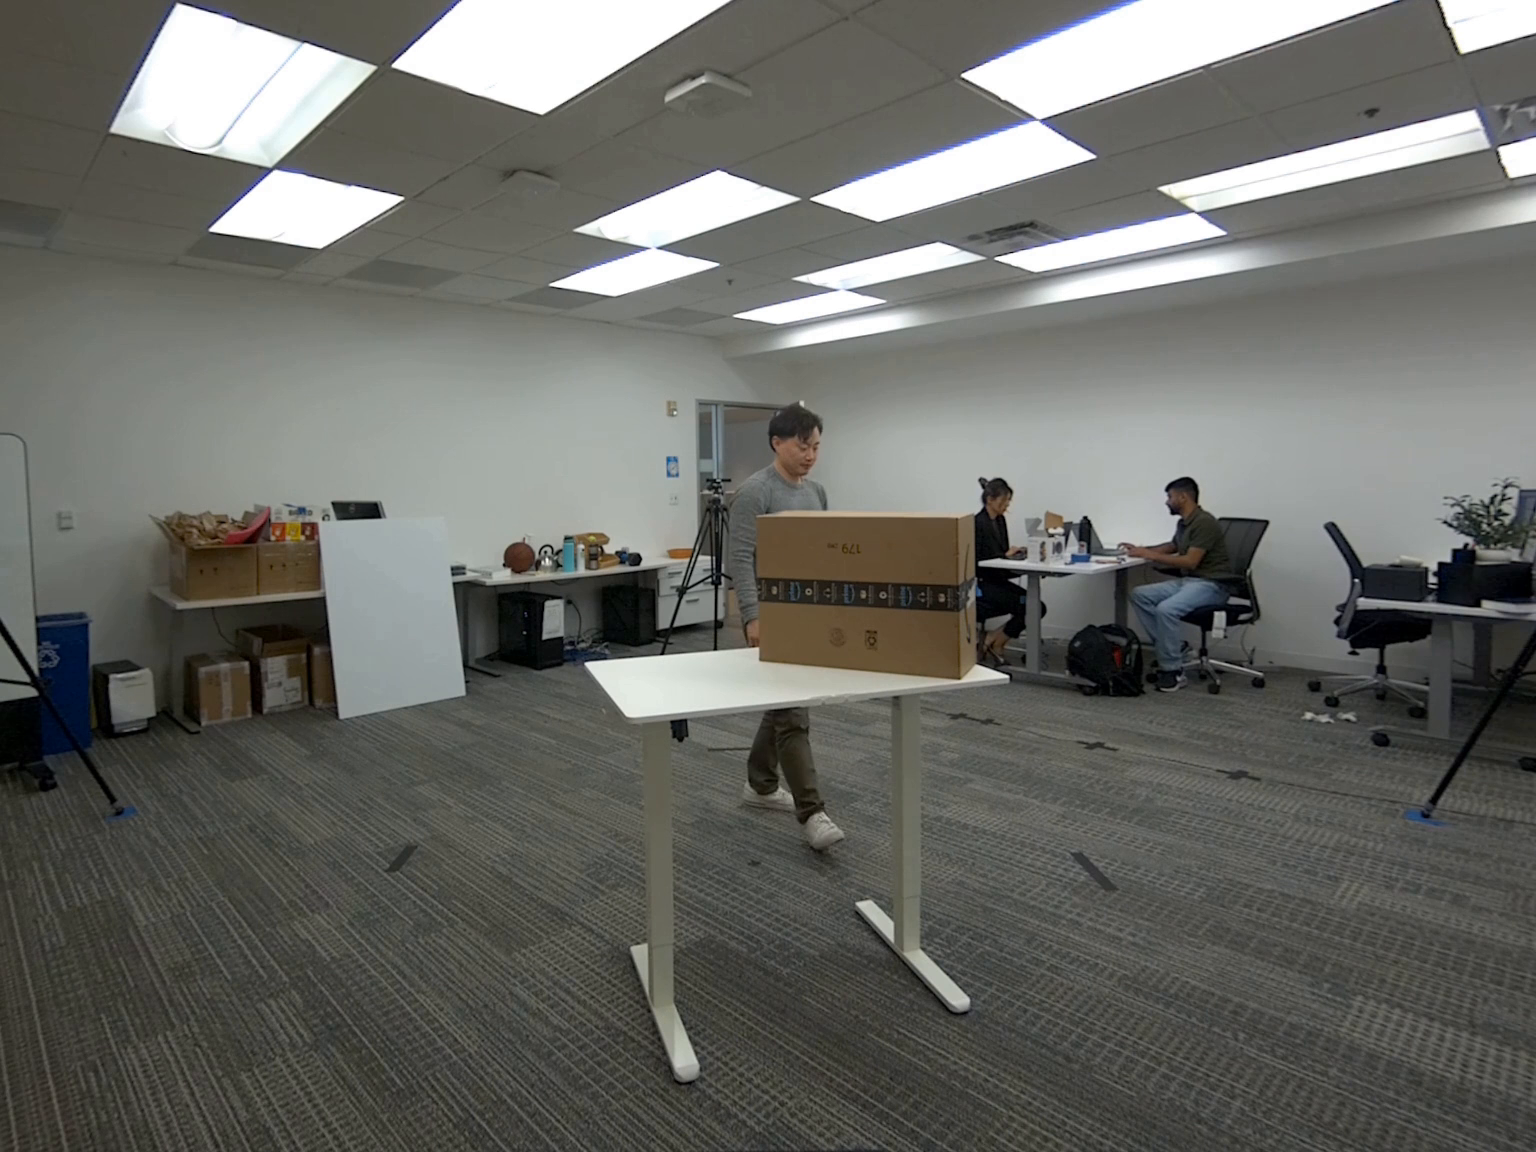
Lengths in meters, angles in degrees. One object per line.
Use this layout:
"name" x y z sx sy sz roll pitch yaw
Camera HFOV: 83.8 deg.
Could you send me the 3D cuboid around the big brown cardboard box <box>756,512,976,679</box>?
"big brown cardboard box" 0.257 0.038 2.375 0.603 0.416 0.228 3 6 27
